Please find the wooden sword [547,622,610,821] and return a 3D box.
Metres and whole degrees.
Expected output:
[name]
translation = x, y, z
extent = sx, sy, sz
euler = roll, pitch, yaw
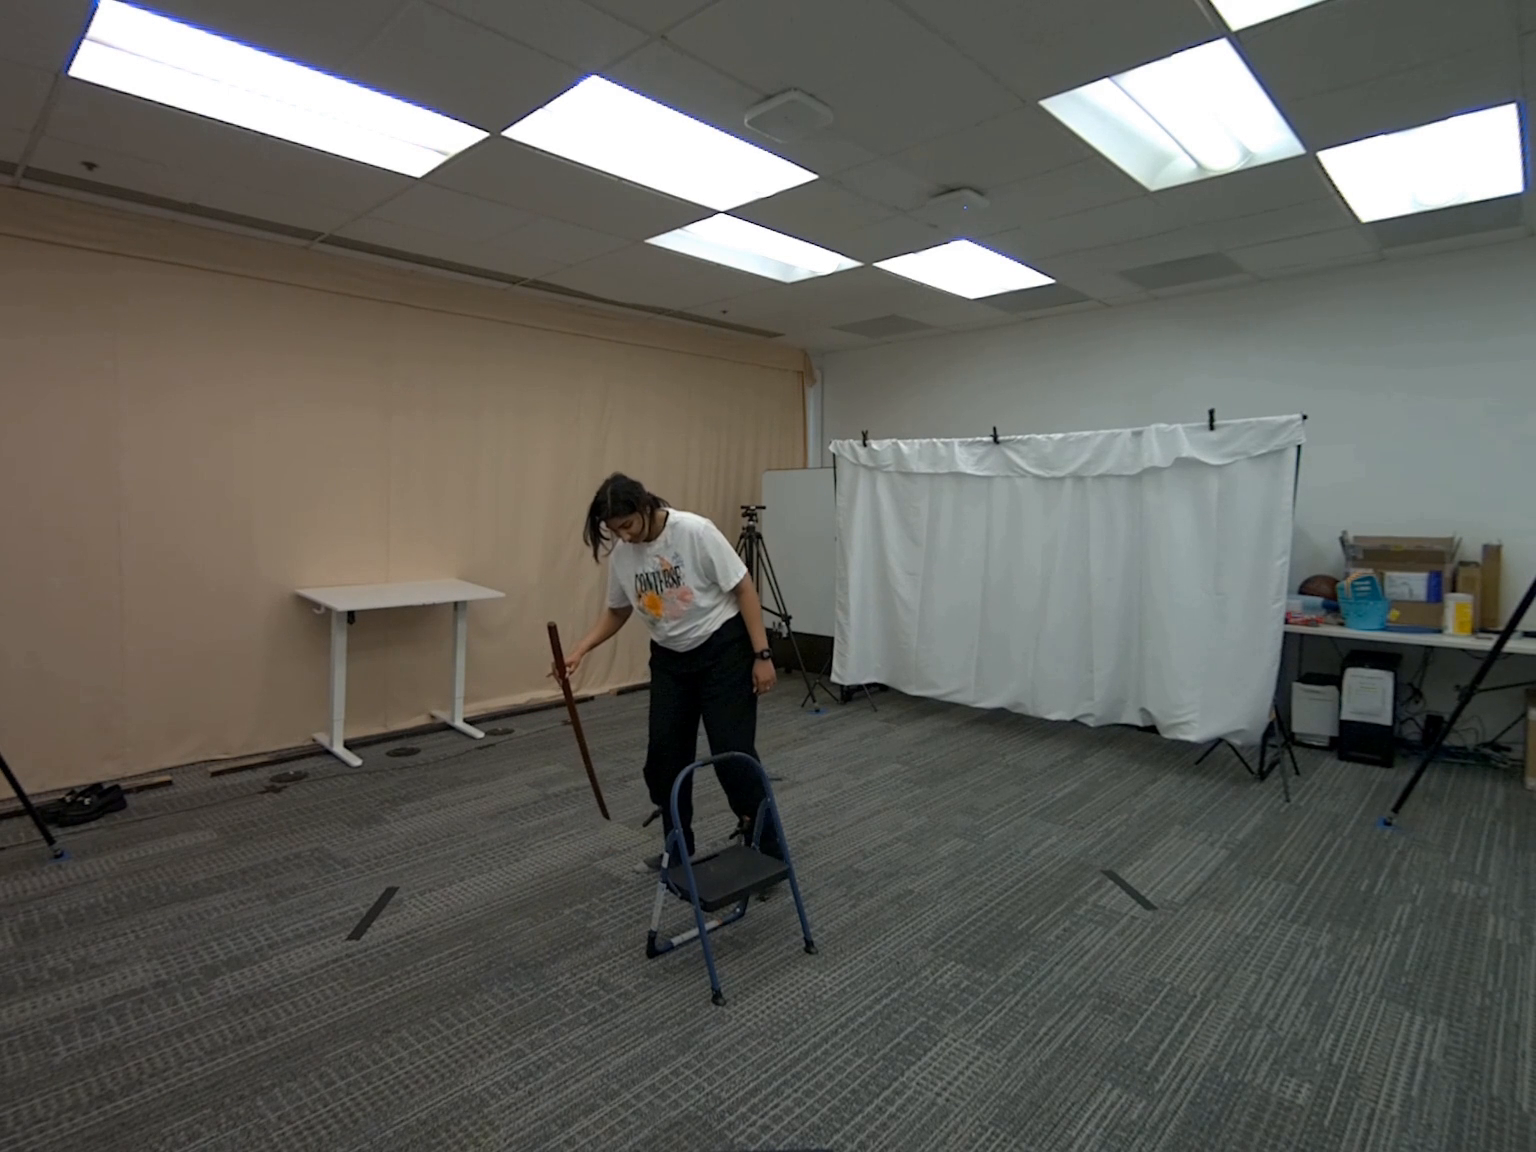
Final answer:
[wooden sword]
translation = -0.721, 0.592, 3.234
extent = 0.052, 1.004, 0.024
euler = 2, 33, 12
